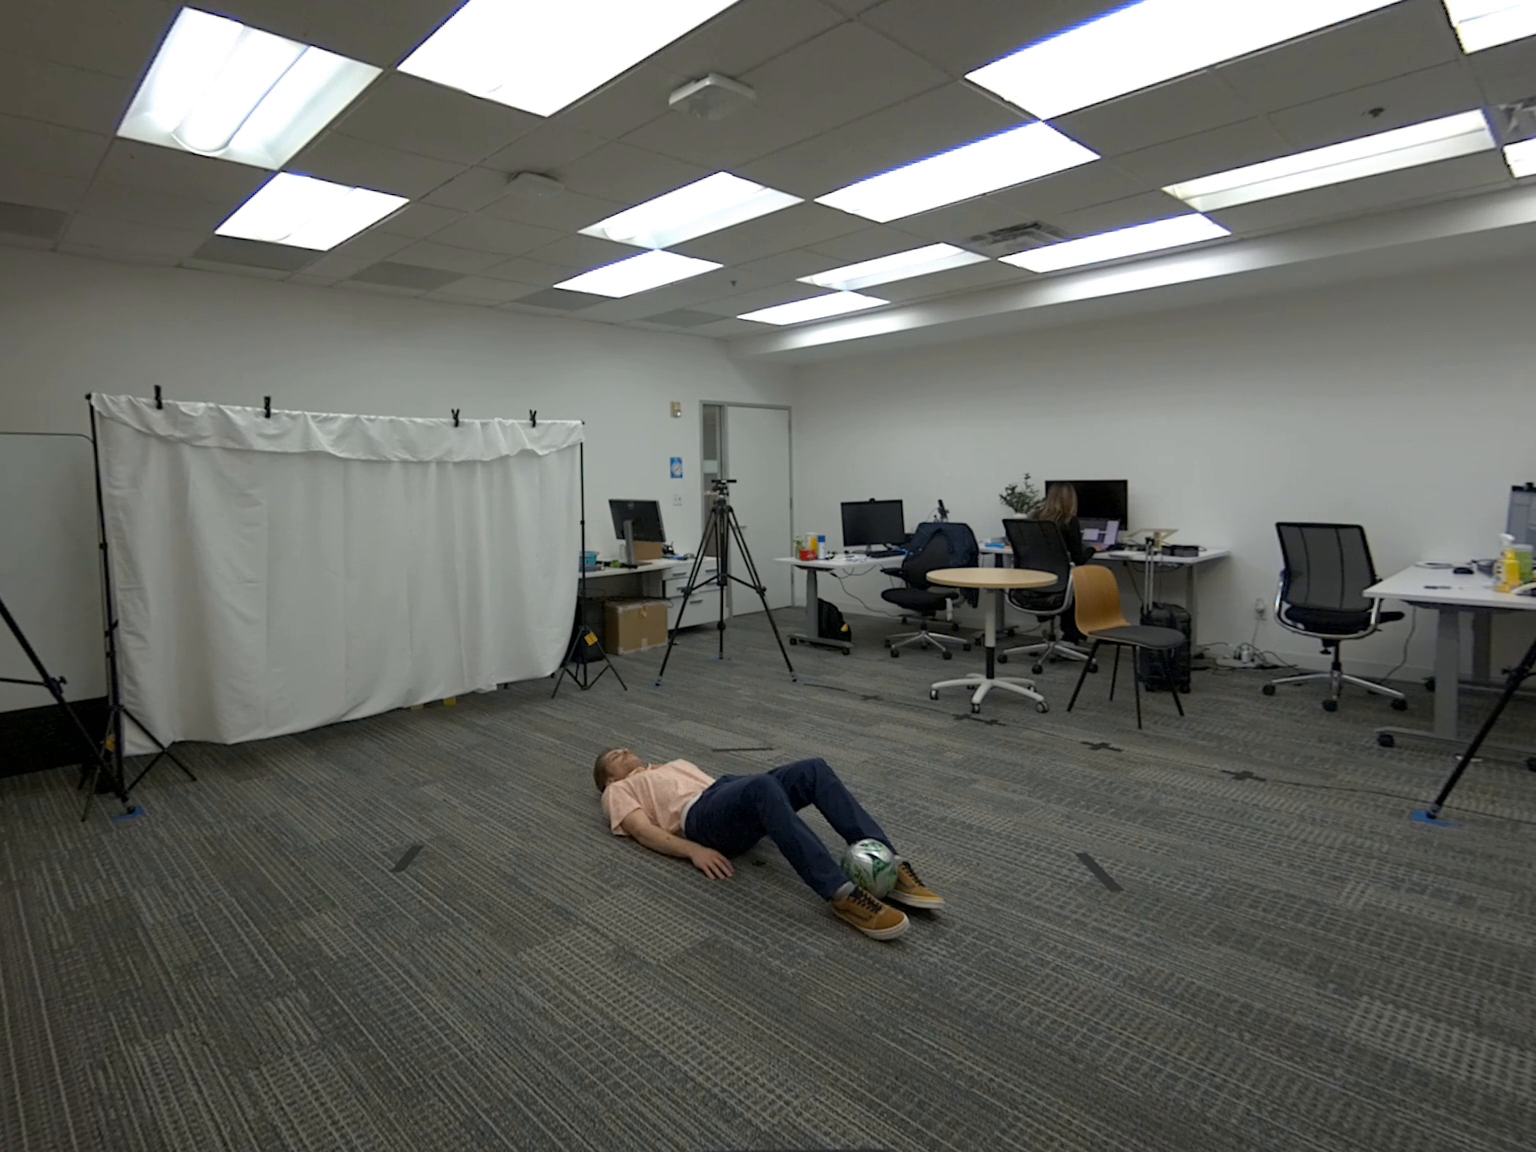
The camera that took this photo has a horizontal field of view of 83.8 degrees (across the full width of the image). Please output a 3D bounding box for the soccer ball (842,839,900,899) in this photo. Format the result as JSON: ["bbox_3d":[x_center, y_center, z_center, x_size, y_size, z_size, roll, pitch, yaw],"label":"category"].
[{"bbox_3d":[0.318,0.955,2.773,0.187,0.187,0.188,-1,5,-2],"label":"soccer ball"}]
